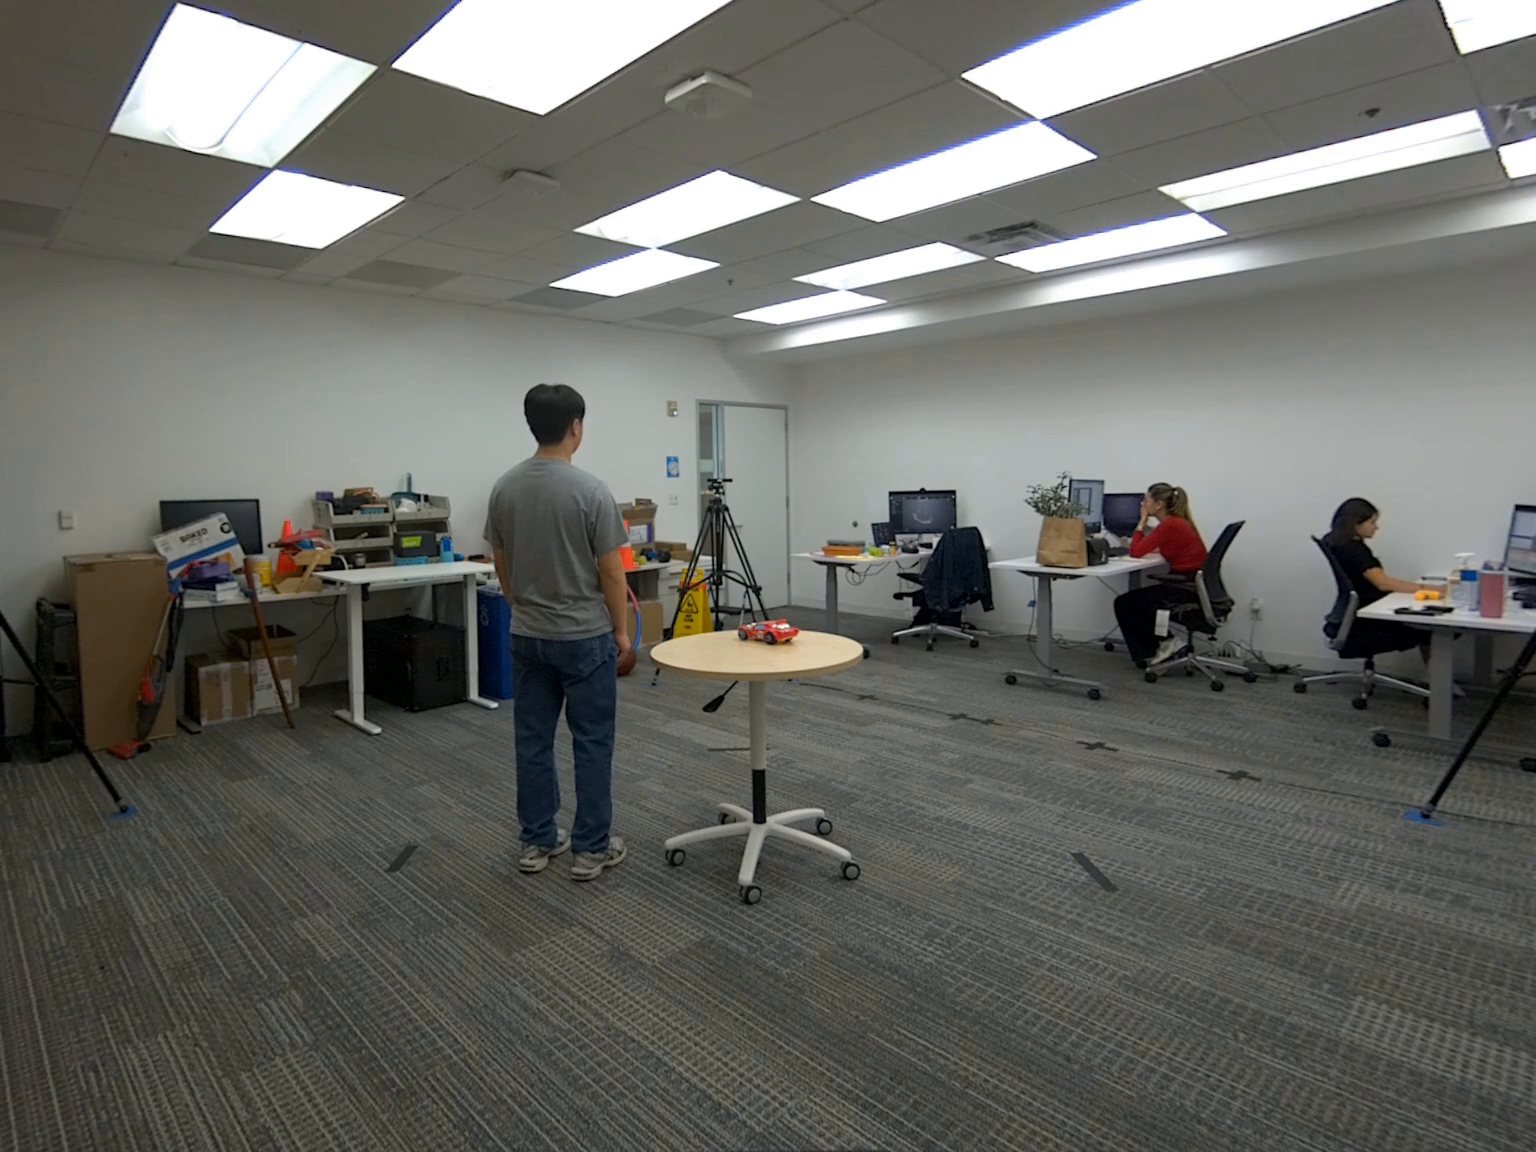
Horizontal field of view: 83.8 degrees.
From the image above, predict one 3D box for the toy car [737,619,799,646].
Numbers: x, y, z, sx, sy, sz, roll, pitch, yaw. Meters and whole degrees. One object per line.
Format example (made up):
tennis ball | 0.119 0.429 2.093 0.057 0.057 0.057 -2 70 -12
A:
toy car | 0.007 0.214 3.223 0.127 0.083 0.260 -6 -3 -43
